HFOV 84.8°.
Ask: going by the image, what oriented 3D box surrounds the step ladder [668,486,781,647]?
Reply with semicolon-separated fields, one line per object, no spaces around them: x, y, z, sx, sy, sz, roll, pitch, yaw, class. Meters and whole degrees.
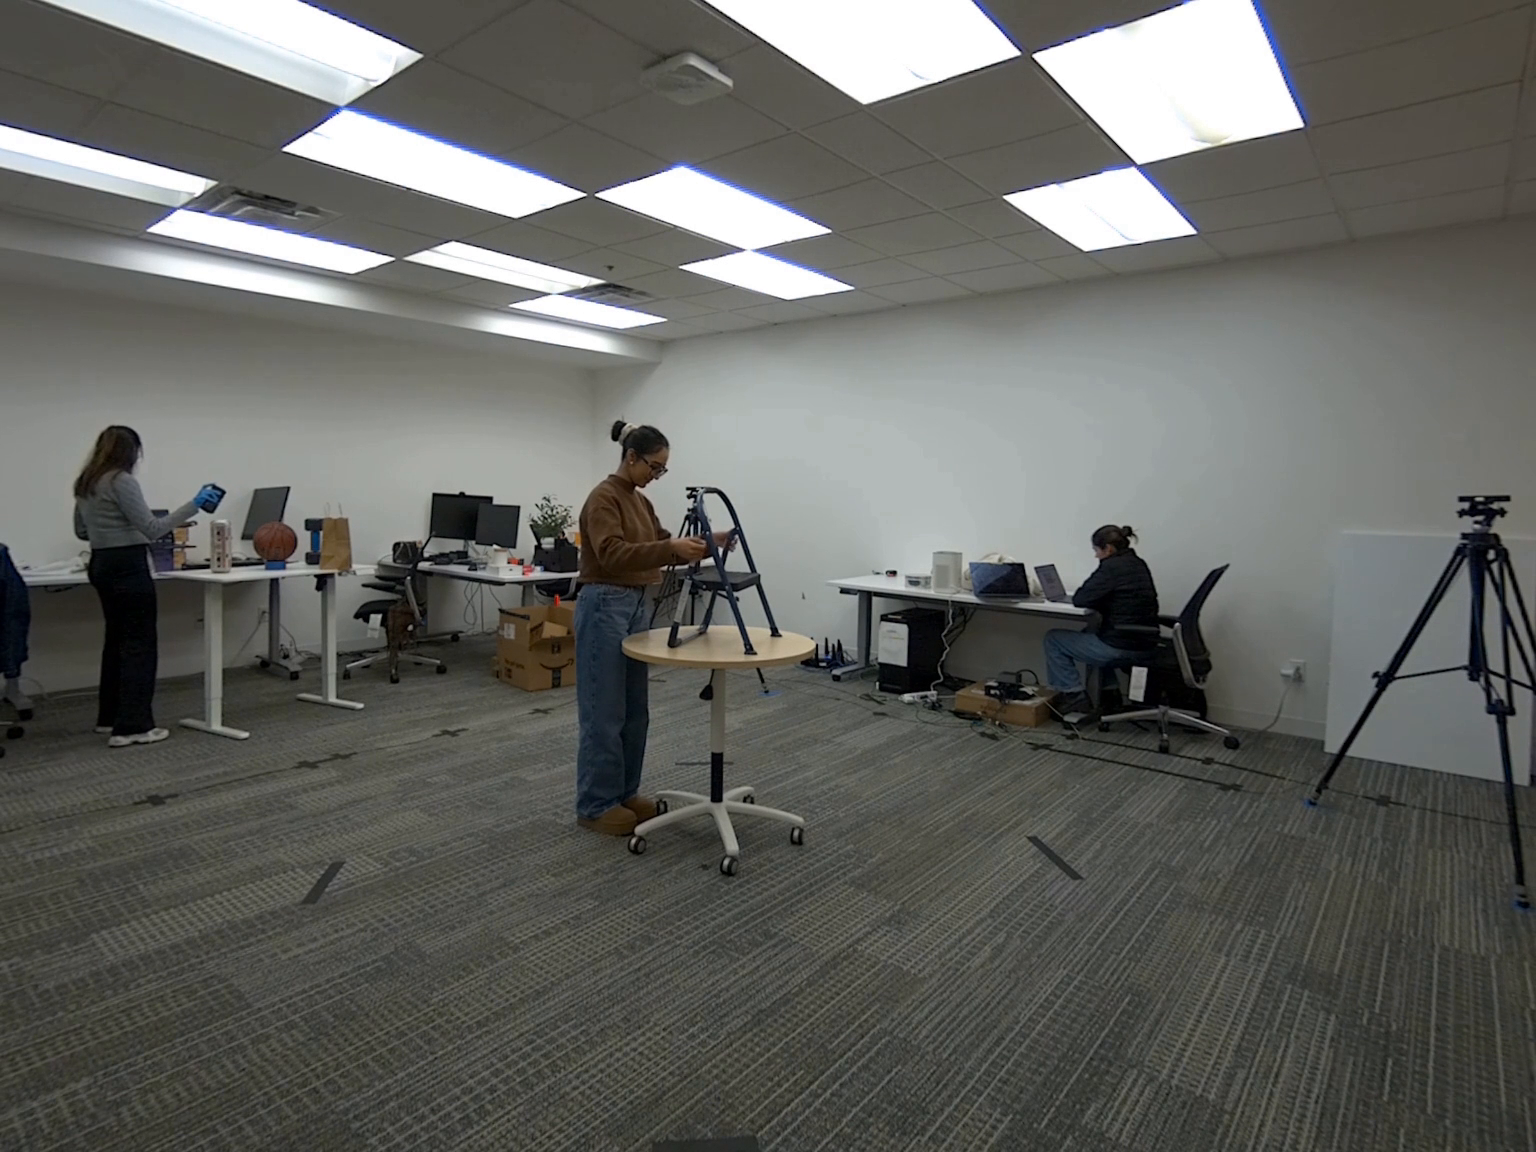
-0.170;-0.040;3.345;0.356;0.604;0.424;2;5;16;step ladder
